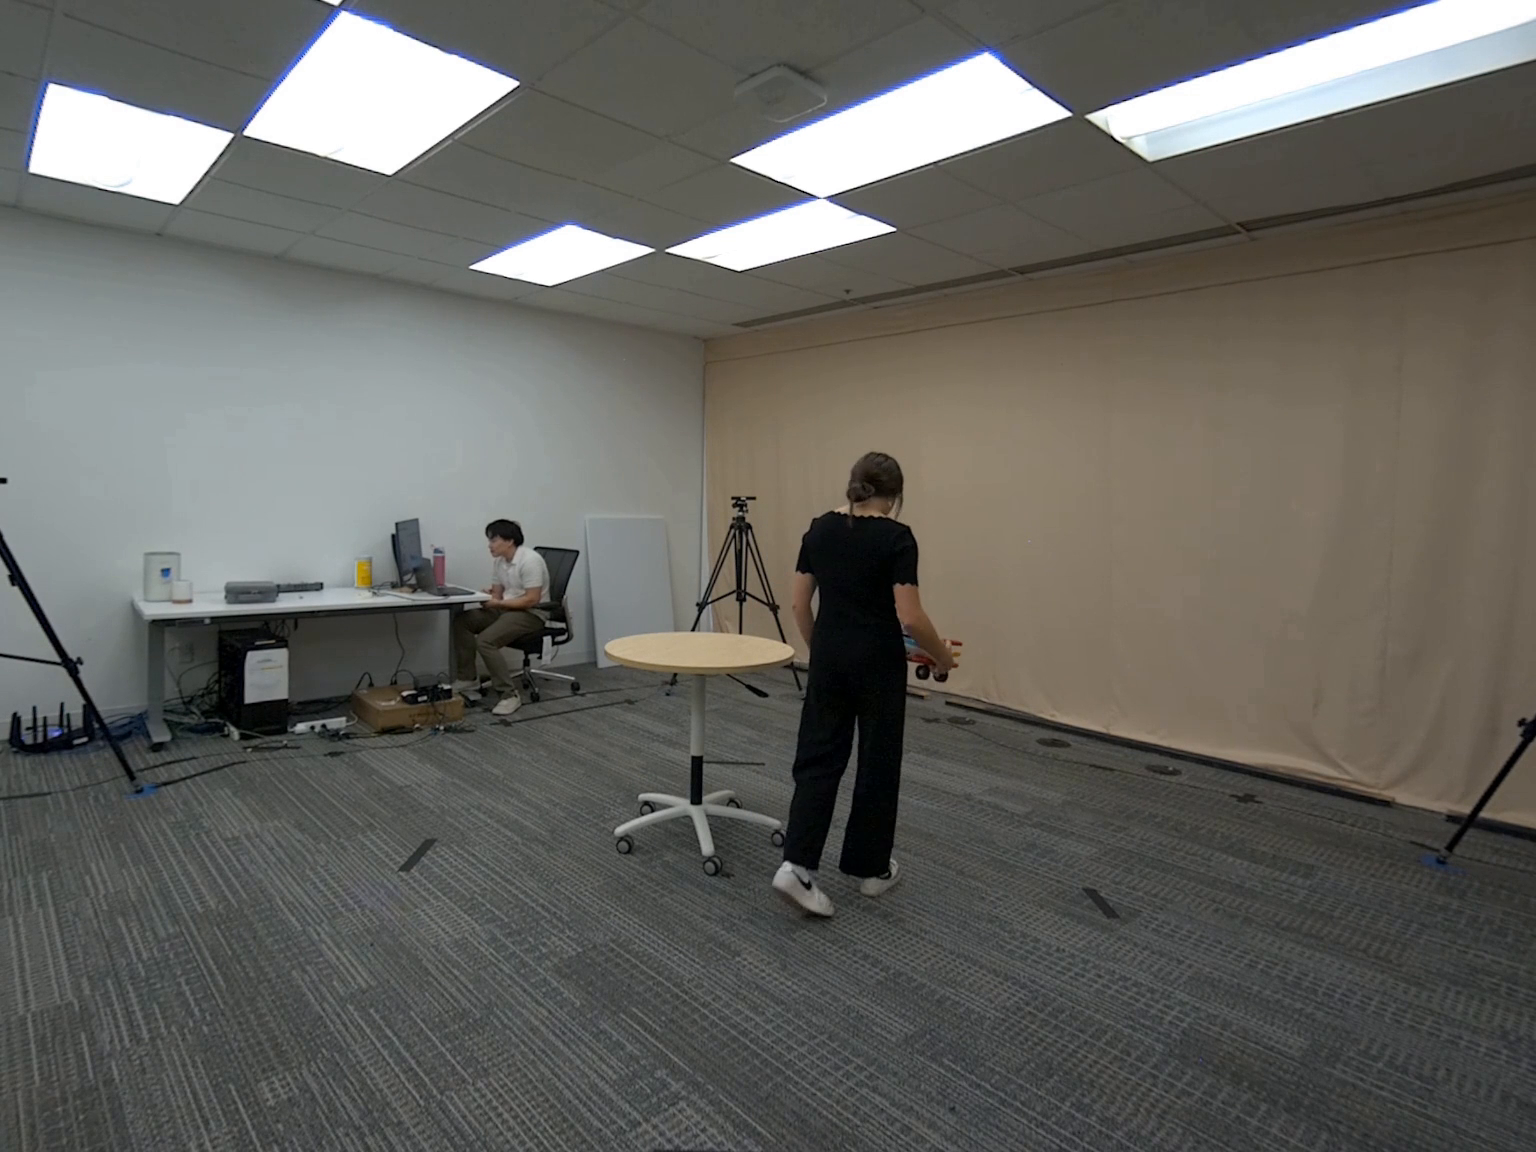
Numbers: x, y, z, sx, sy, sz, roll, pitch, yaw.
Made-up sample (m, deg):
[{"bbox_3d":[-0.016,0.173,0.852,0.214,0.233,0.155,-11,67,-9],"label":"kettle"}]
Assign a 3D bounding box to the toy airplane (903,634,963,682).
[{"bbox_3d":[0.530,0.264,3.041,0.266,0.155,0.246,28,16,28],"label":"toy airplane"}]
